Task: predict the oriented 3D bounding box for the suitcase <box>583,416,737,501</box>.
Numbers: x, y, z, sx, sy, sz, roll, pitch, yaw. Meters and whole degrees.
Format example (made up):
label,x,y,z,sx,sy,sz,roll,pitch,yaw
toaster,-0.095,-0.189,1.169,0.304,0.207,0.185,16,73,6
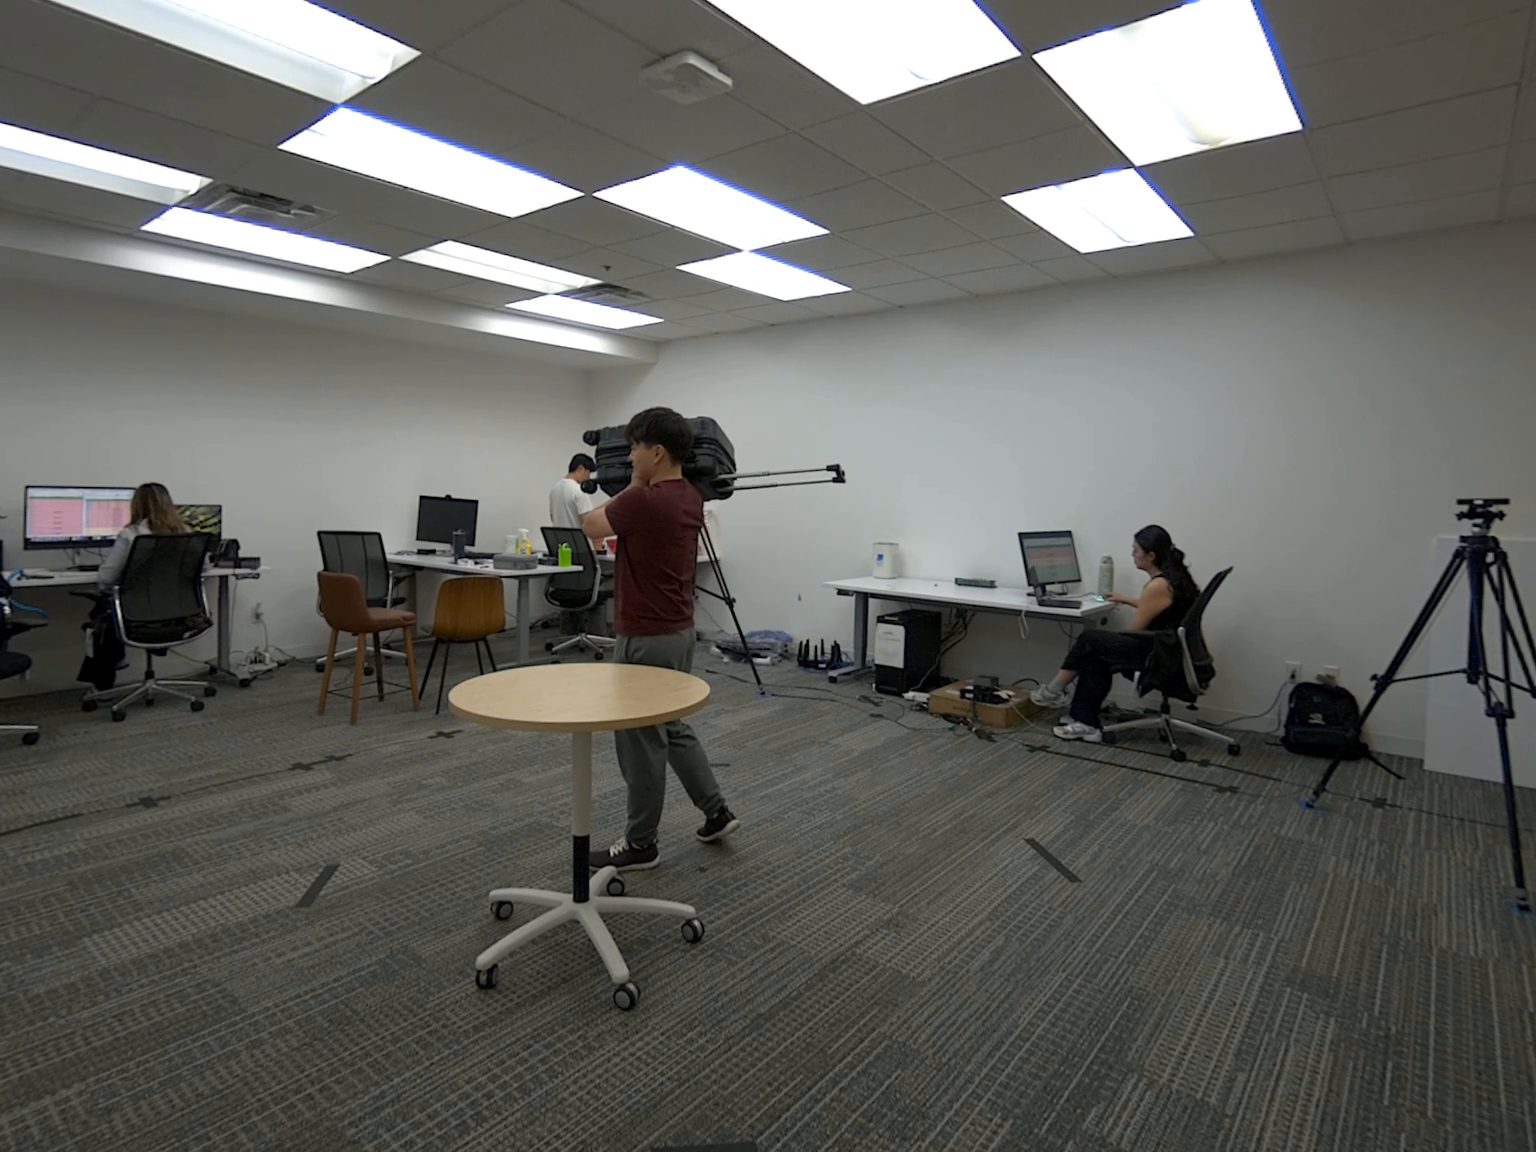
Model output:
label,x,y,z,sx,sy,sz,roll,pitch,yaw
suitcase,-0.219,-0.462,3.294,0.993,0.261,0.371,-5,-18,16
